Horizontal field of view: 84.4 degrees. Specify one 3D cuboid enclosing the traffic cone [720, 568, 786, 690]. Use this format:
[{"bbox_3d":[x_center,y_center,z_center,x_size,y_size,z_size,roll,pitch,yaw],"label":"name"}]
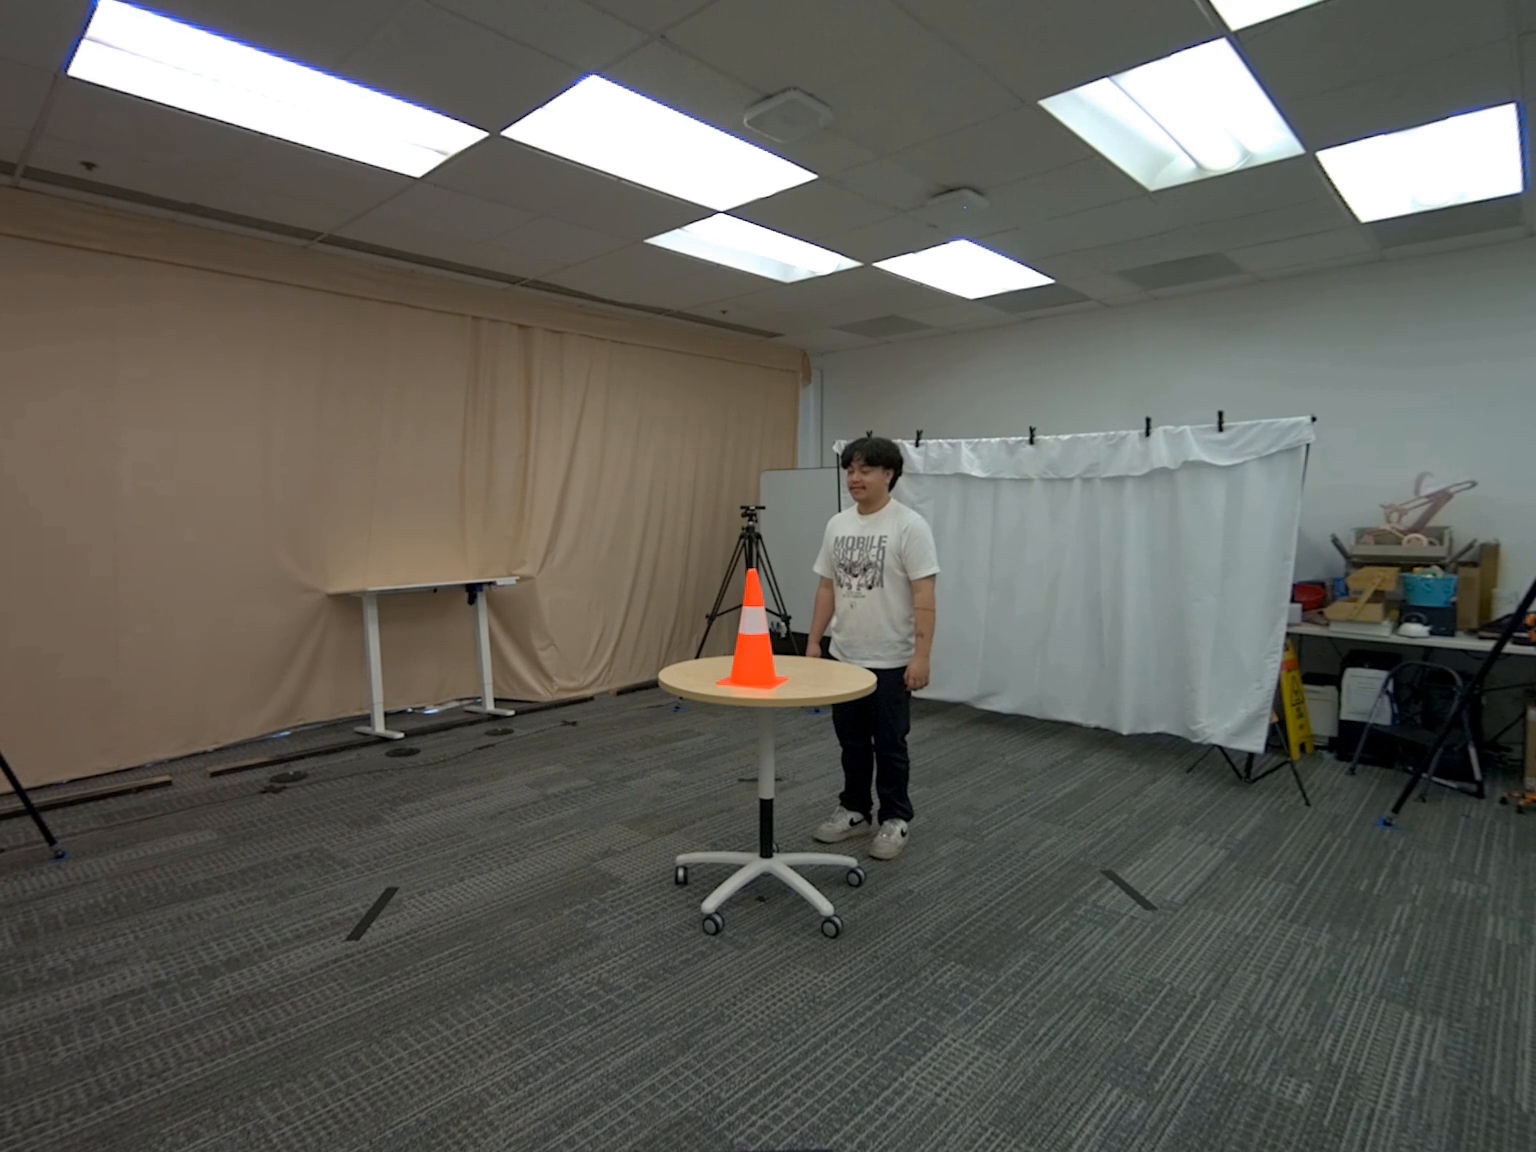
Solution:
[{"bbox_3d":[-0.045,0.172,2.846,0.210,0.383,0.199,0,2,23],"label":"traffic cone"}]
